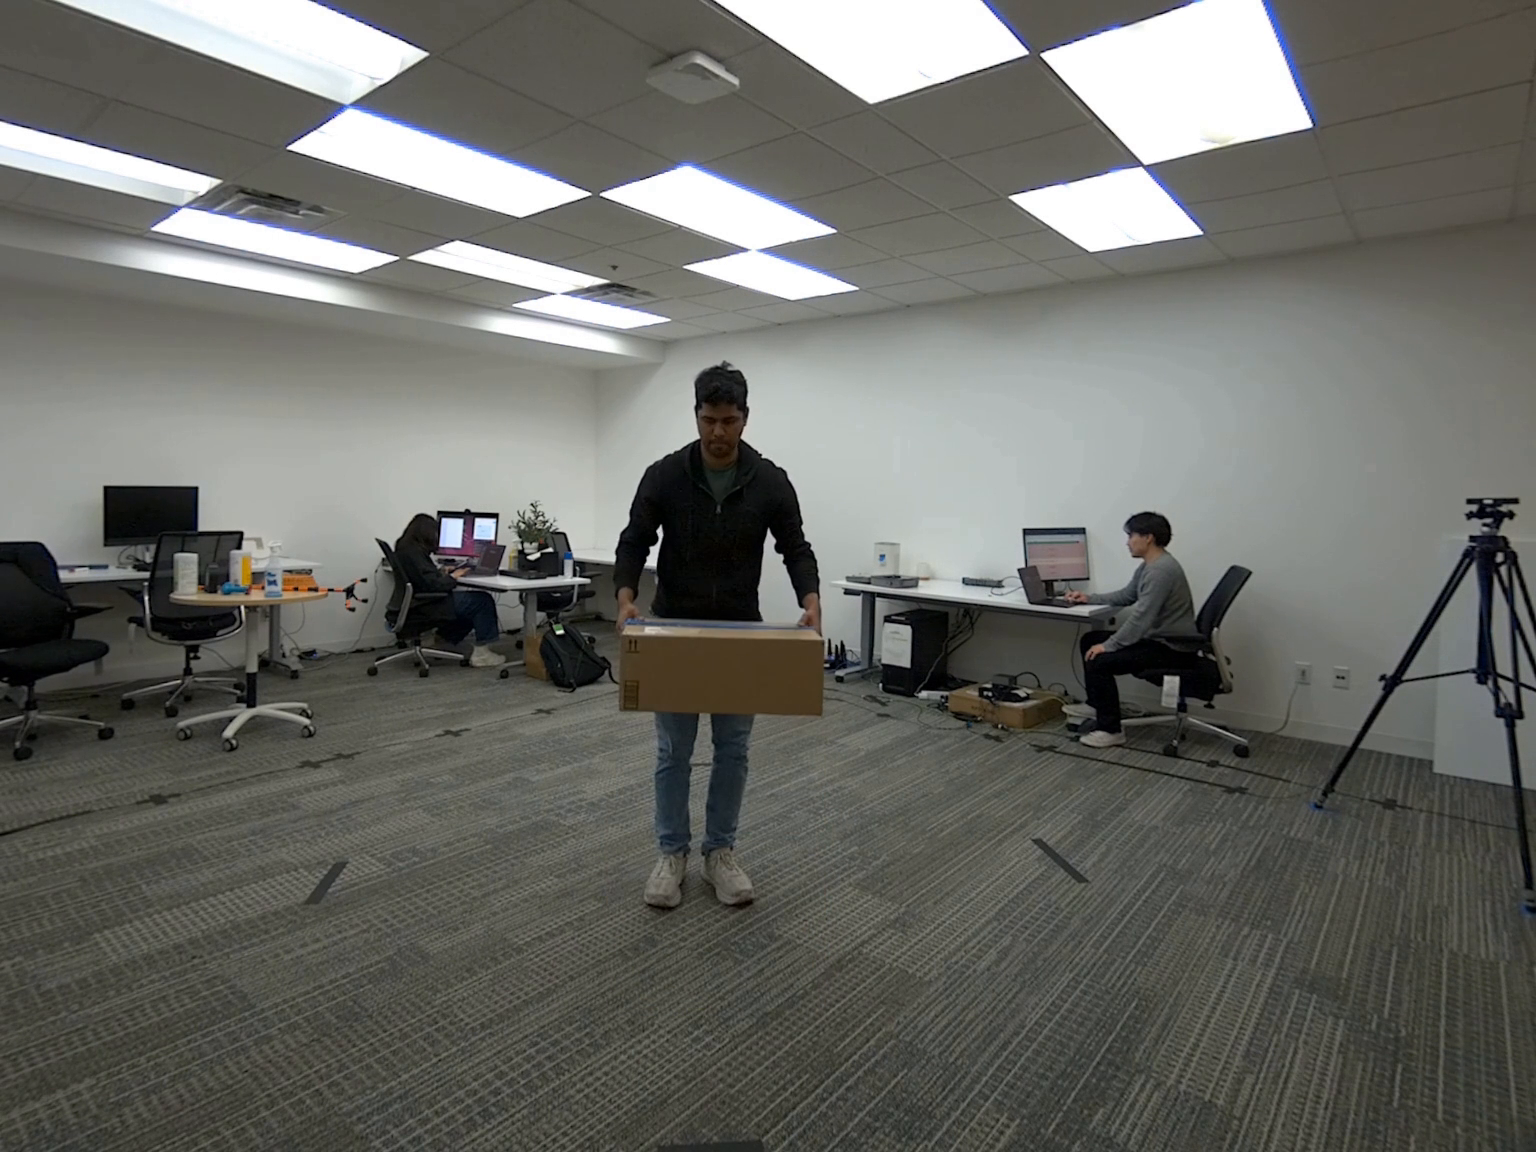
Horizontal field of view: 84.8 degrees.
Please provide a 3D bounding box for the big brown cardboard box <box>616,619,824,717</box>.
[{"bbox_3d":[-0.159,0.266,2.544,0.587,0.233,0.419,3,2,-3],"label":"big brown cardboard box"}]
